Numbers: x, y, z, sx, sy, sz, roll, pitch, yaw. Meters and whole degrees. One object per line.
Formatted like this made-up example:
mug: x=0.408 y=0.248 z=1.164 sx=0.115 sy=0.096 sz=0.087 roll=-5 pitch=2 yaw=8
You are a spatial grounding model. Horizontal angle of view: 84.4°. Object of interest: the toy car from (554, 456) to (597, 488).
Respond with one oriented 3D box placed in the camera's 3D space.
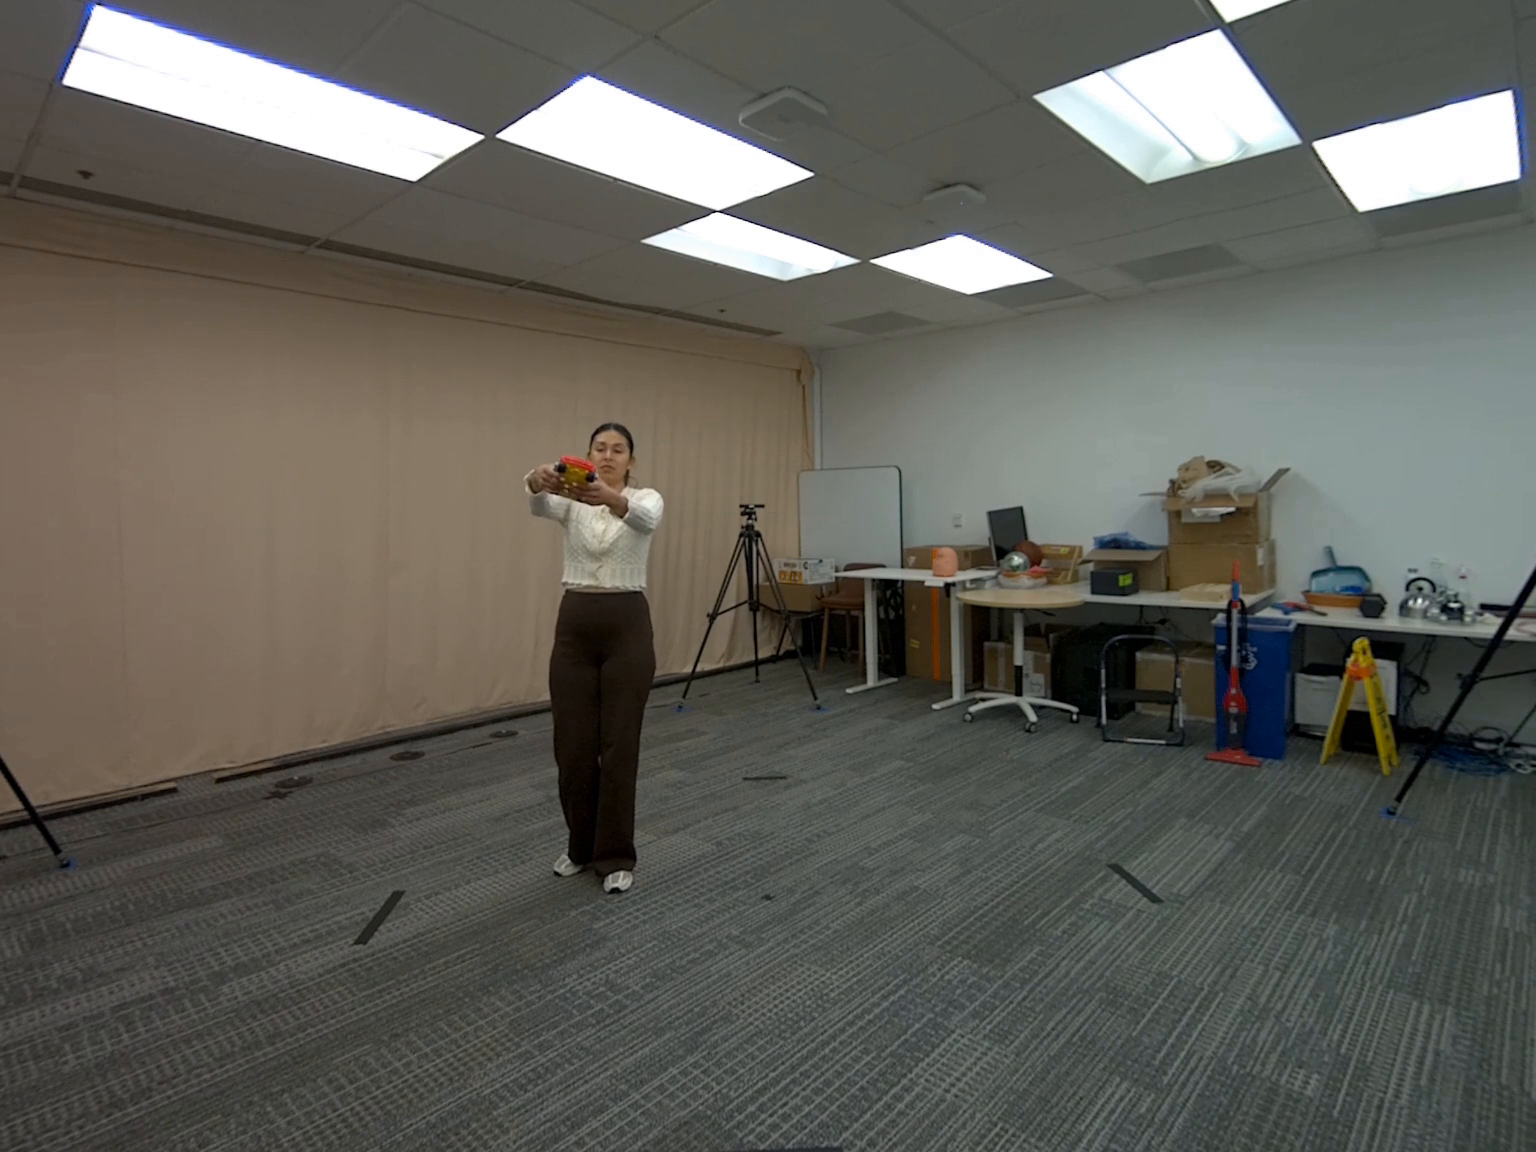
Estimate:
toy car: x=-0.602 y=-0.294 z=2.547 sx=0.128 sy=0.083 sz=0.258 roll=16 pitch=-10 yaw=-18
